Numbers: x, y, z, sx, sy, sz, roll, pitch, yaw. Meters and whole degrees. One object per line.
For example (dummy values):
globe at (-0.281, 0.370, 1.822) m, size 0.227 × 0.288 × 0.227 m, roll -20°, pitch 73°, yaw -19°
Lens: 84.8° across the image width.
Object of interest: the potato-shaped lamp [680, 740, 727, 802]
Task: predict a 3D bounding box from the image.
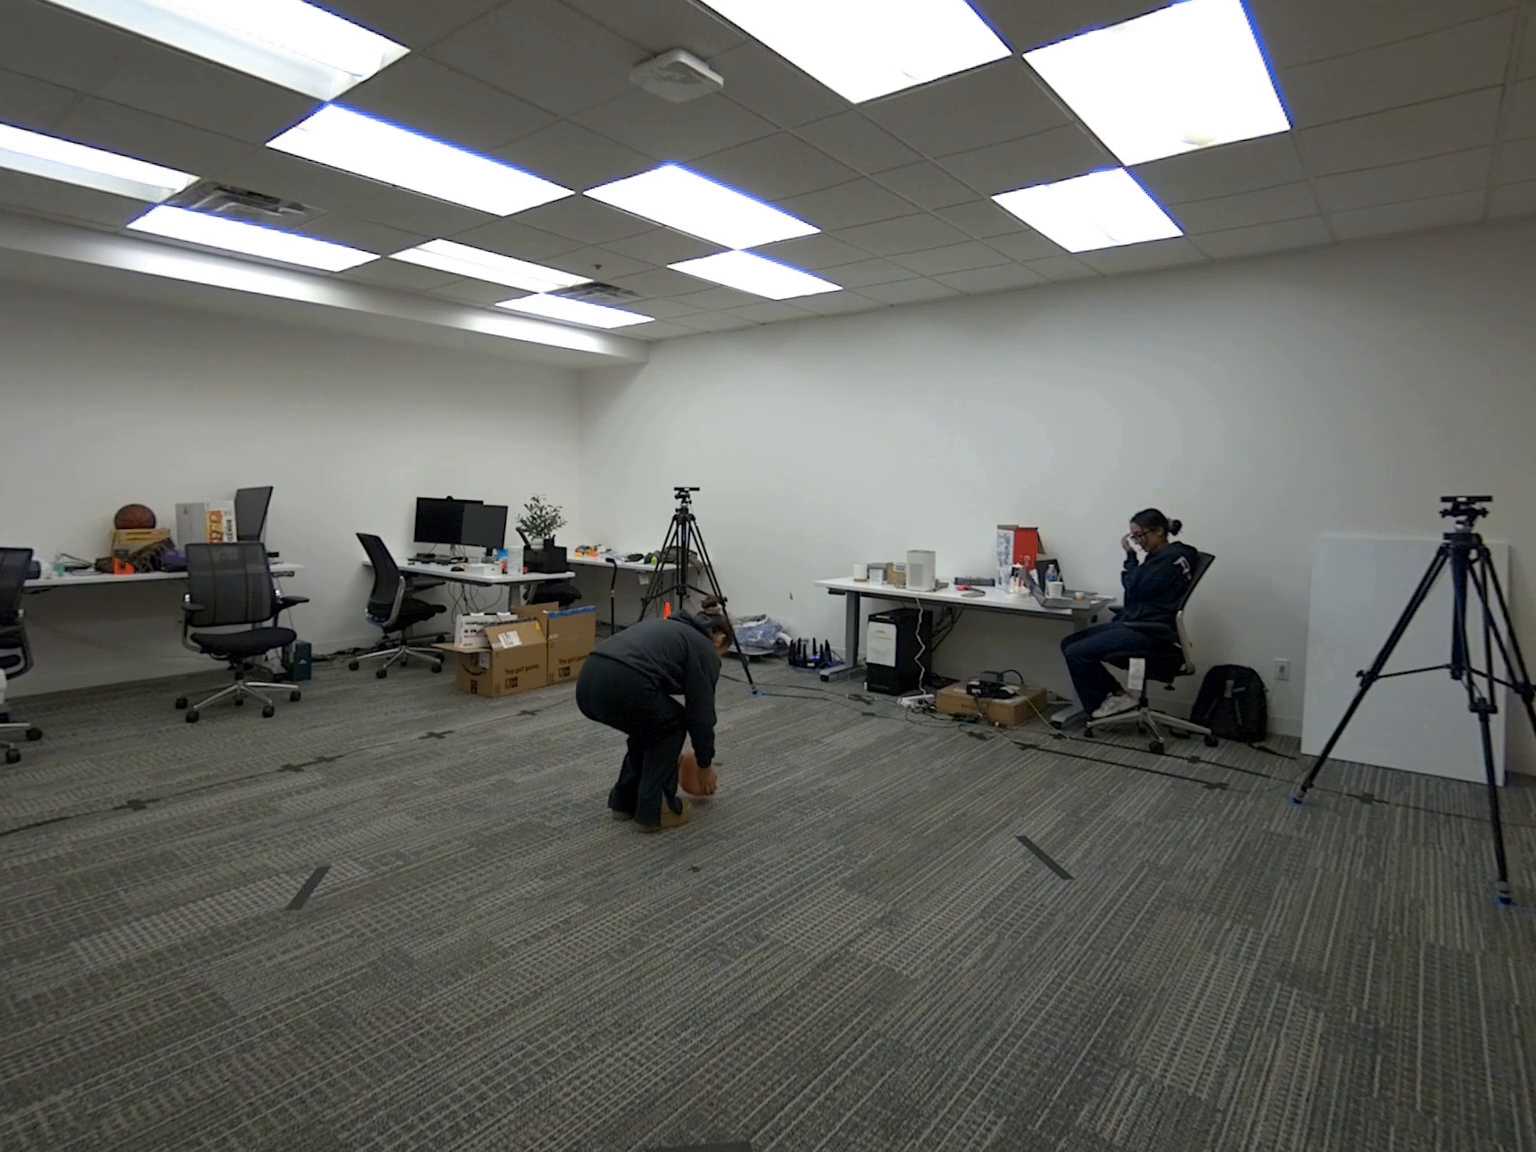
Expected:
potato-shaped lamp at (-0.312, 0.872, 3.775) m, size 0.174 × 0.192 × 0.167 m, roll -7°, pitch 28°, yaw 17°
